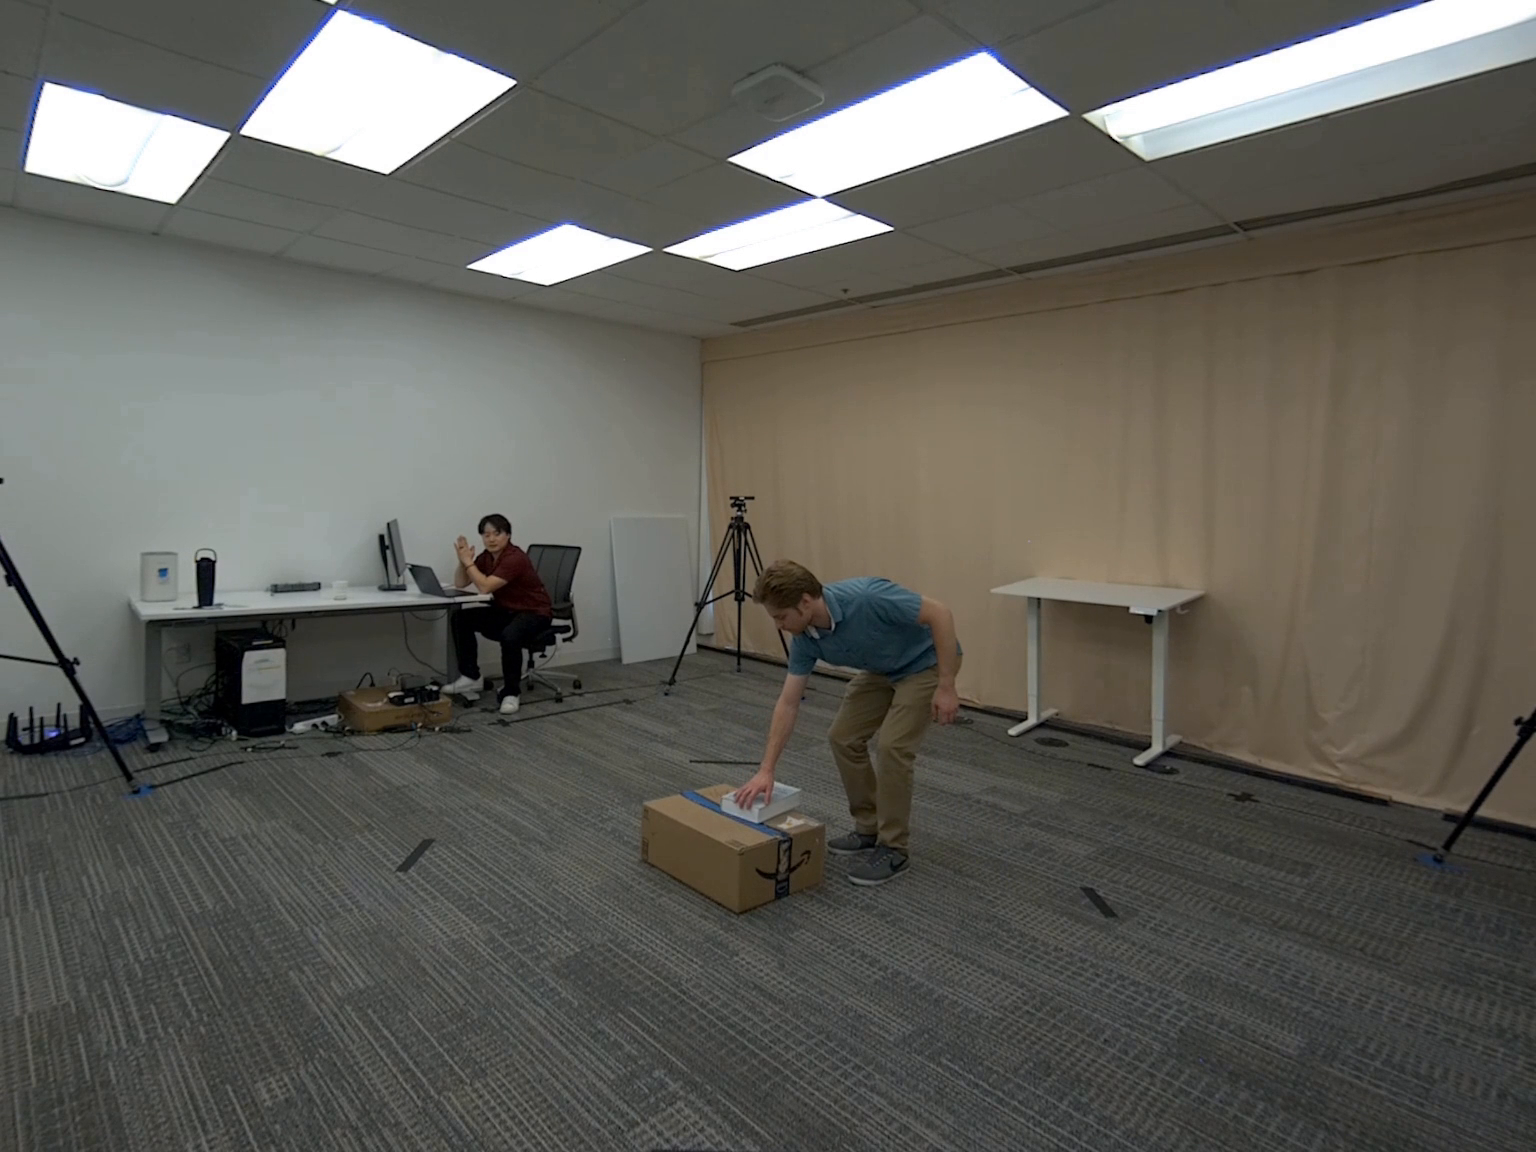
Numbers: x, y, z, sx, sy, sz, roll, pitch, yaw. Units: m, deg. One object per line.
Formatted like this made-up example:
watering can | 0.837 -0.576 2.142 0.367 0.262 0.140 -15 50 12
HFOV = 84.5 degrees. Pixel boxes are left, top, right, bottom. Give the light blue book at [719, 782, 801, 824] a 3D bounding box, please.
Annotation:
light blue book | -0.031 0.852 3.209 0.196 0.059 0.255 6 8 39
